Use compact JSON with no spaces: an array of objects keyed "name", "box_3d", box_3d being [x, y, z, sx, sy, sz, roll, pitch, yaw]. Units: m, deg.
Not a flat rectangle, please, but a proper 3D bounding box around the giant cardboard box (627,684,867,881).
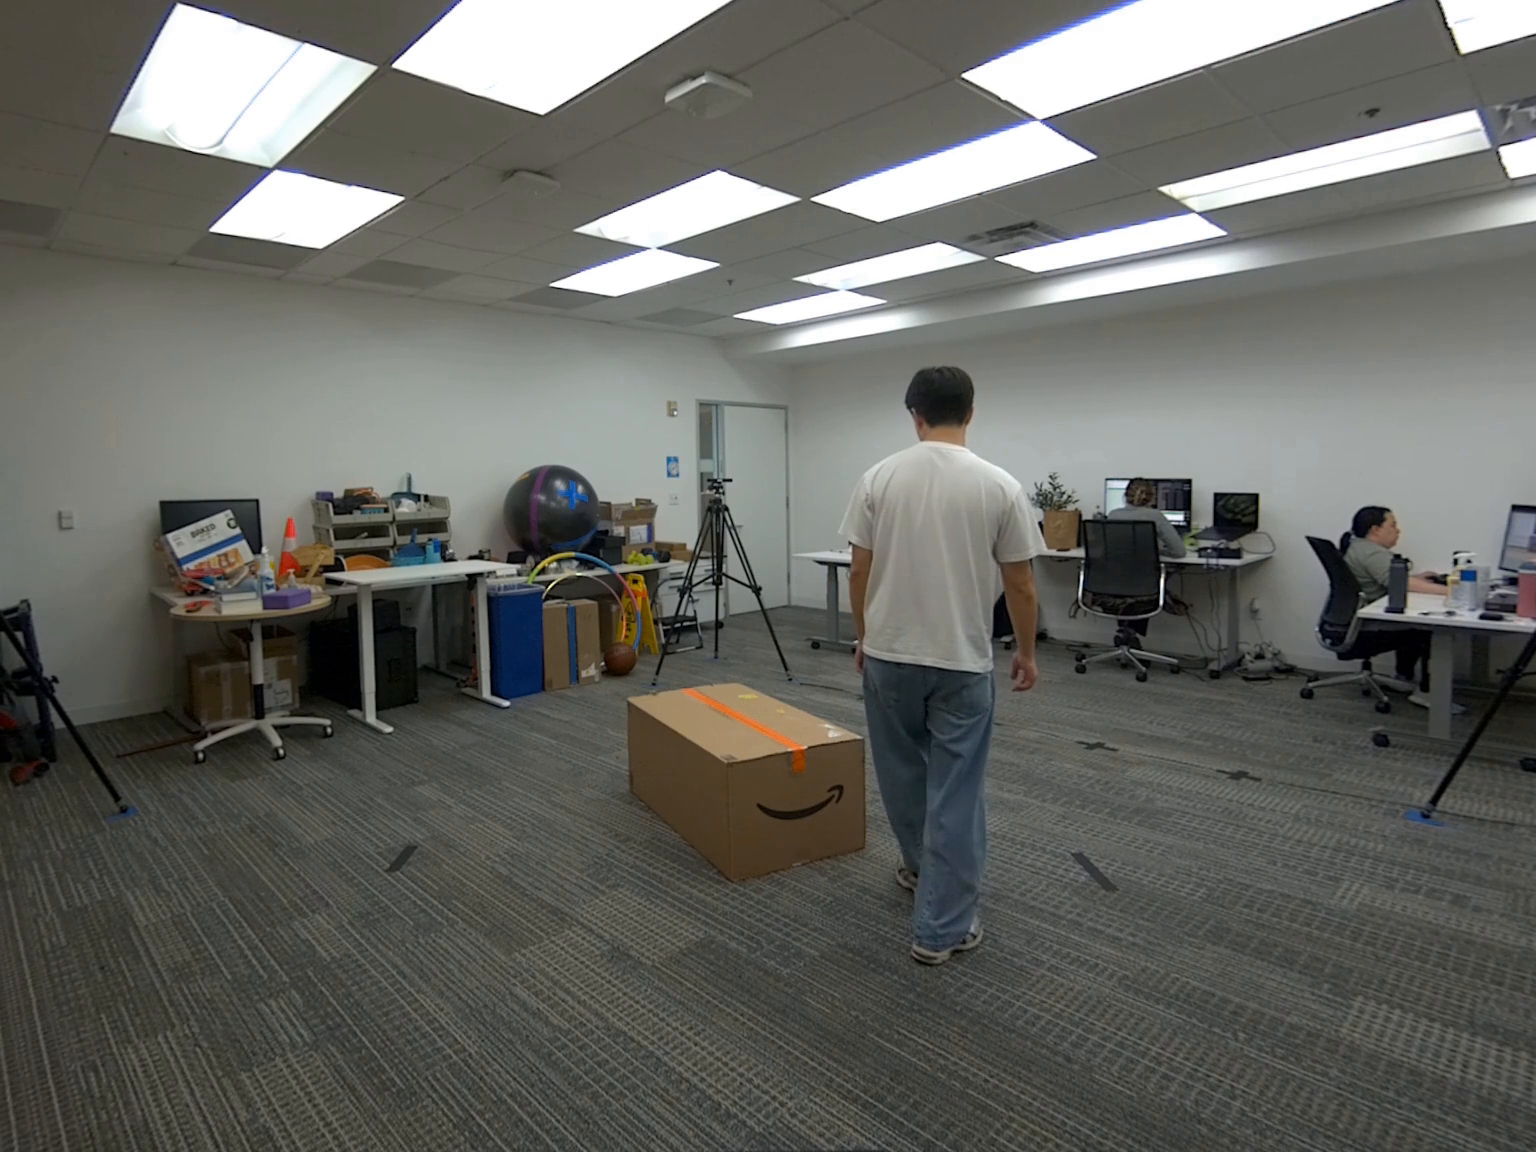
[{"name":"giant cardboard box","box_3d":[-0.135,0.785,3.526,0.564,0.424,1.054,-3,6,-28]}]
